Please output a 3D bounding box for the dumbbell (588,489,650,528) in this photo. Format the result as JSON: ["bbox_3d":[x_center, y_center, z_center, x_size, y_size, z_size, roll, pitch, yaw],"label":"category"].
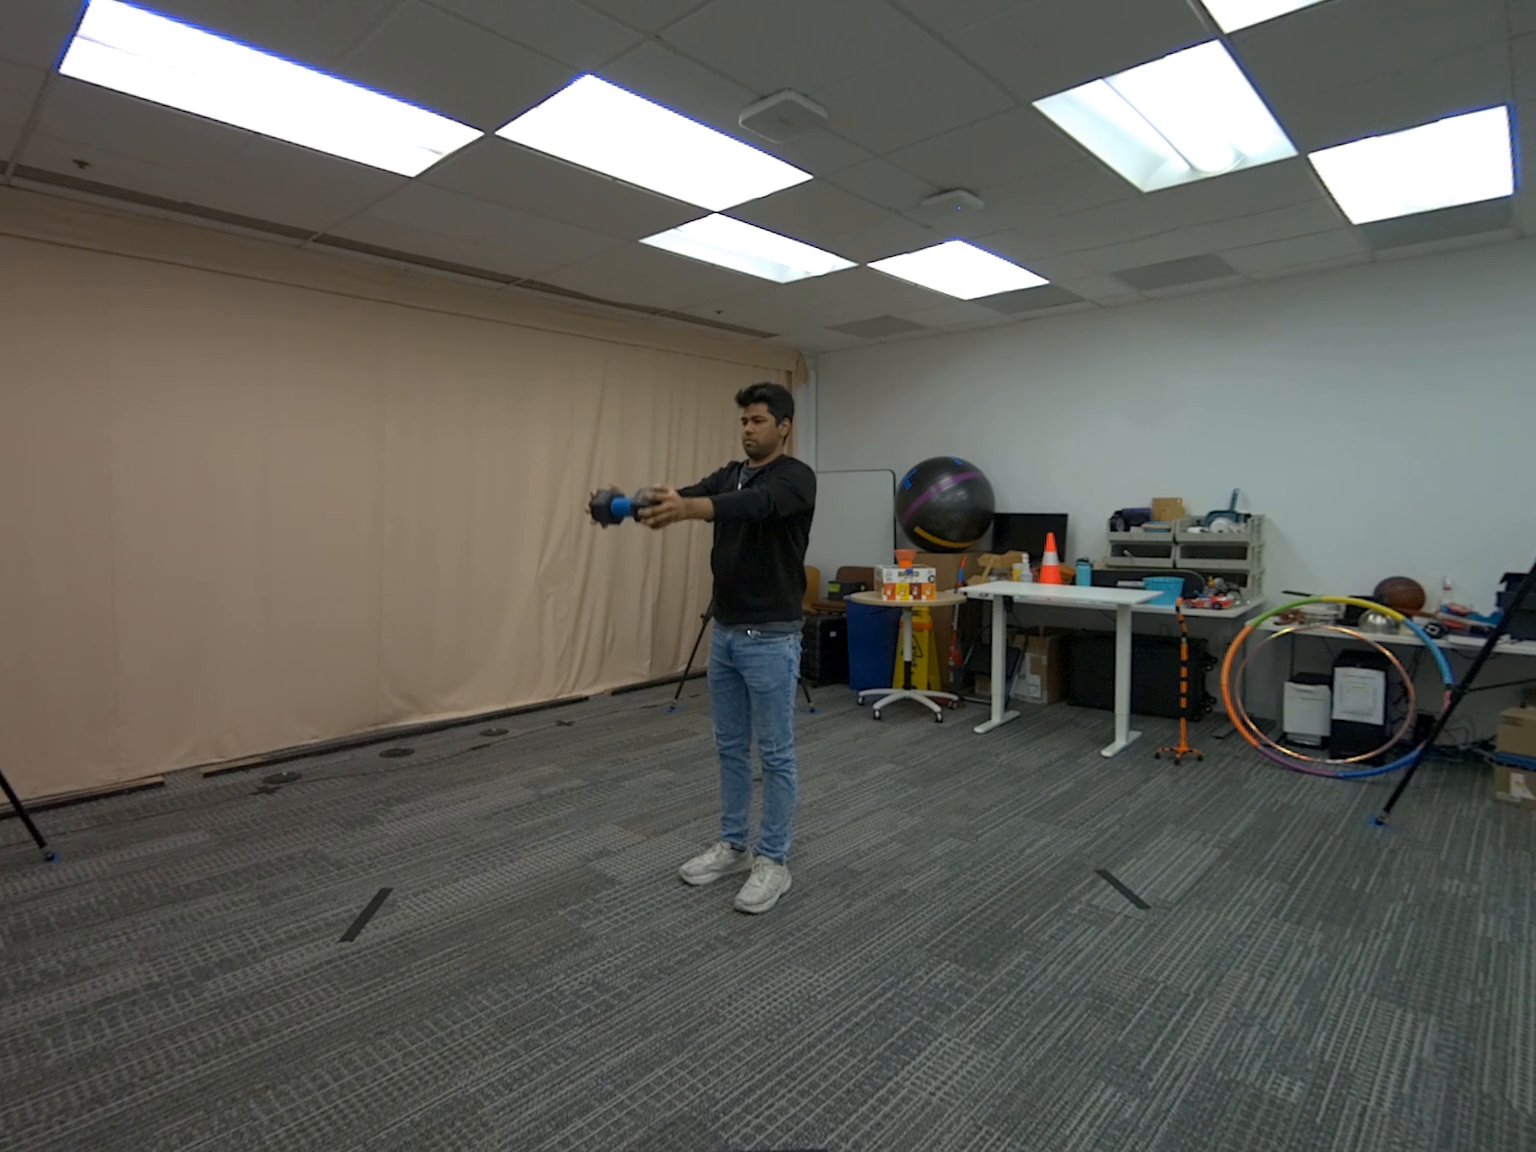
[{"bbox_3d":[-0.416,-0.224,2.644,0.303,0.121,0.107,5,25,44],"label":"dumbbell"}]
